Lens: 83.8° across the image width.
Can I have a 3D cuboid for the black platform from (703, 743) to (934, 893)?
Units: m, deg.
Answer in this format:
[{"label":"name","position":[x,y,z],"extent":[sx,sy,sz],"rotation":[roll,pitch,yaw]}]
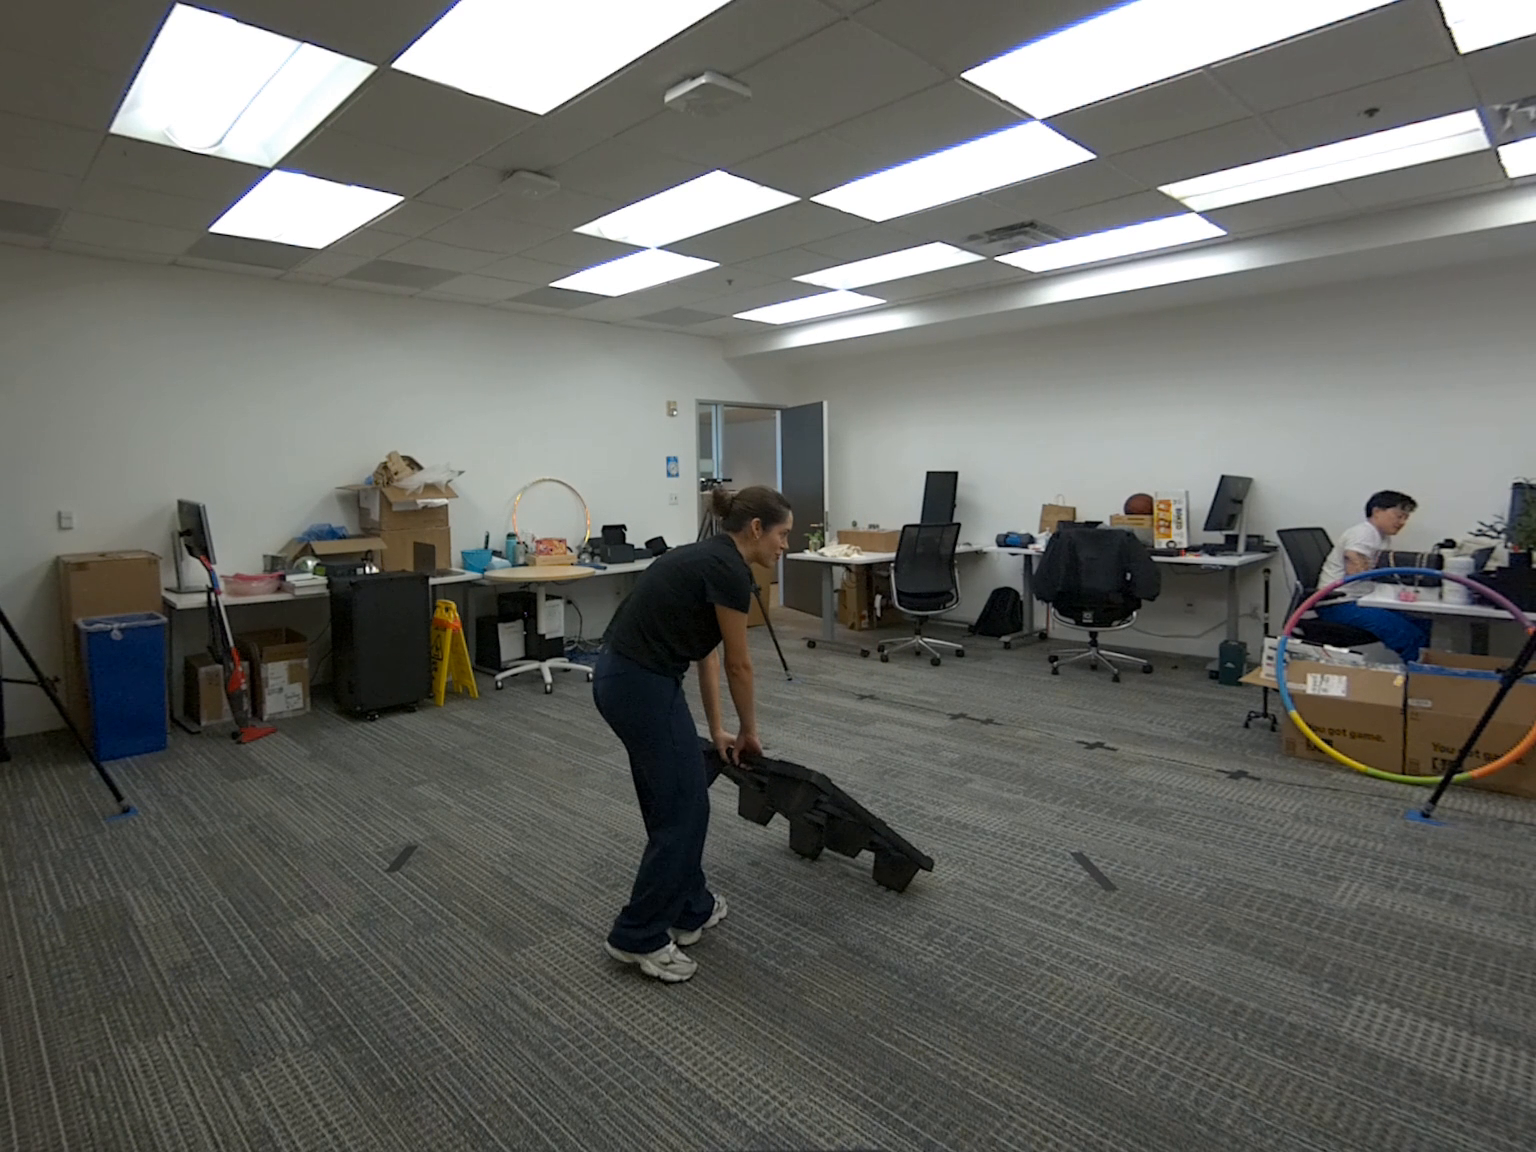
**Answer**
[{"label":"black platform","position":[0.107,0.795,2.851],"extent":[0.624,0.144,0.775],"rotation":[4,-31,43]}]
